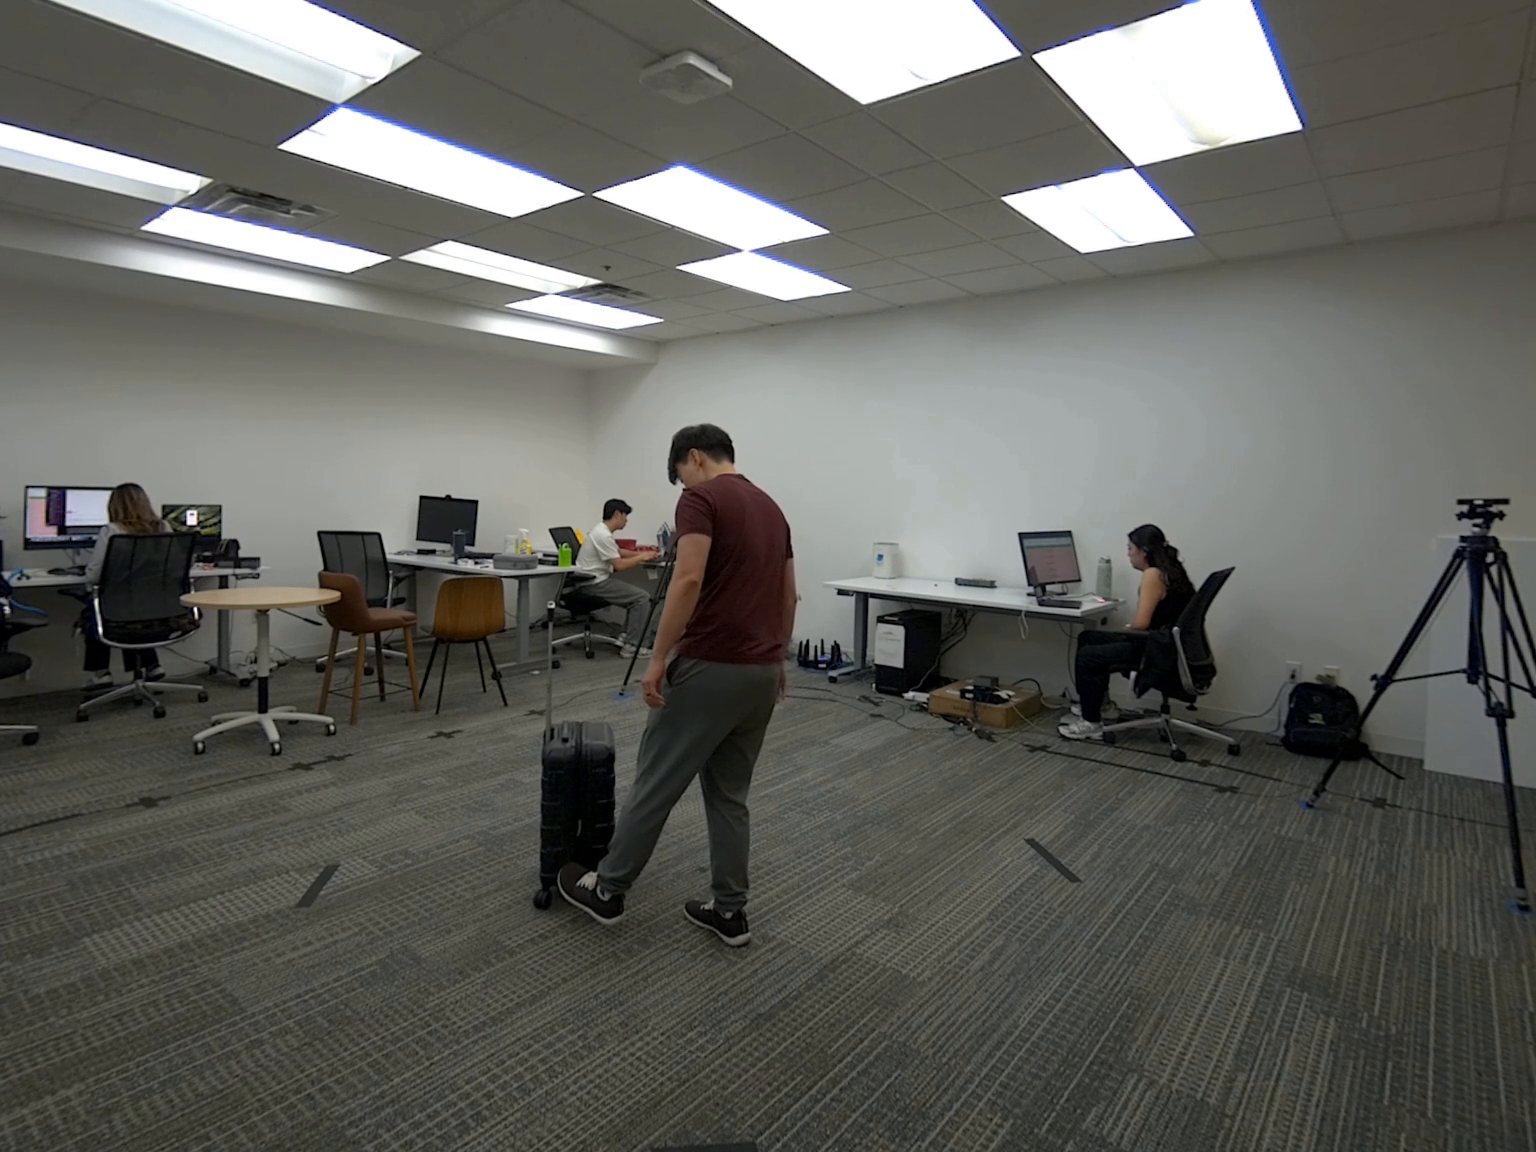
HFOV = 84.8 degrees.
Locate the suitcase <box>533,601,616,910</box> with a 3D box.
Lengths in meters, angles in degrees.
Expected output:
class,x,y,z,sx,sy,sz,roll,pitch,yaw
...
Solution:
class,x,y,z,sx,sy,sz,roll,pitch,yaw
suitcase,-0.669,0.598,2.965,0.254,0.976,0.389,2,2,-11
